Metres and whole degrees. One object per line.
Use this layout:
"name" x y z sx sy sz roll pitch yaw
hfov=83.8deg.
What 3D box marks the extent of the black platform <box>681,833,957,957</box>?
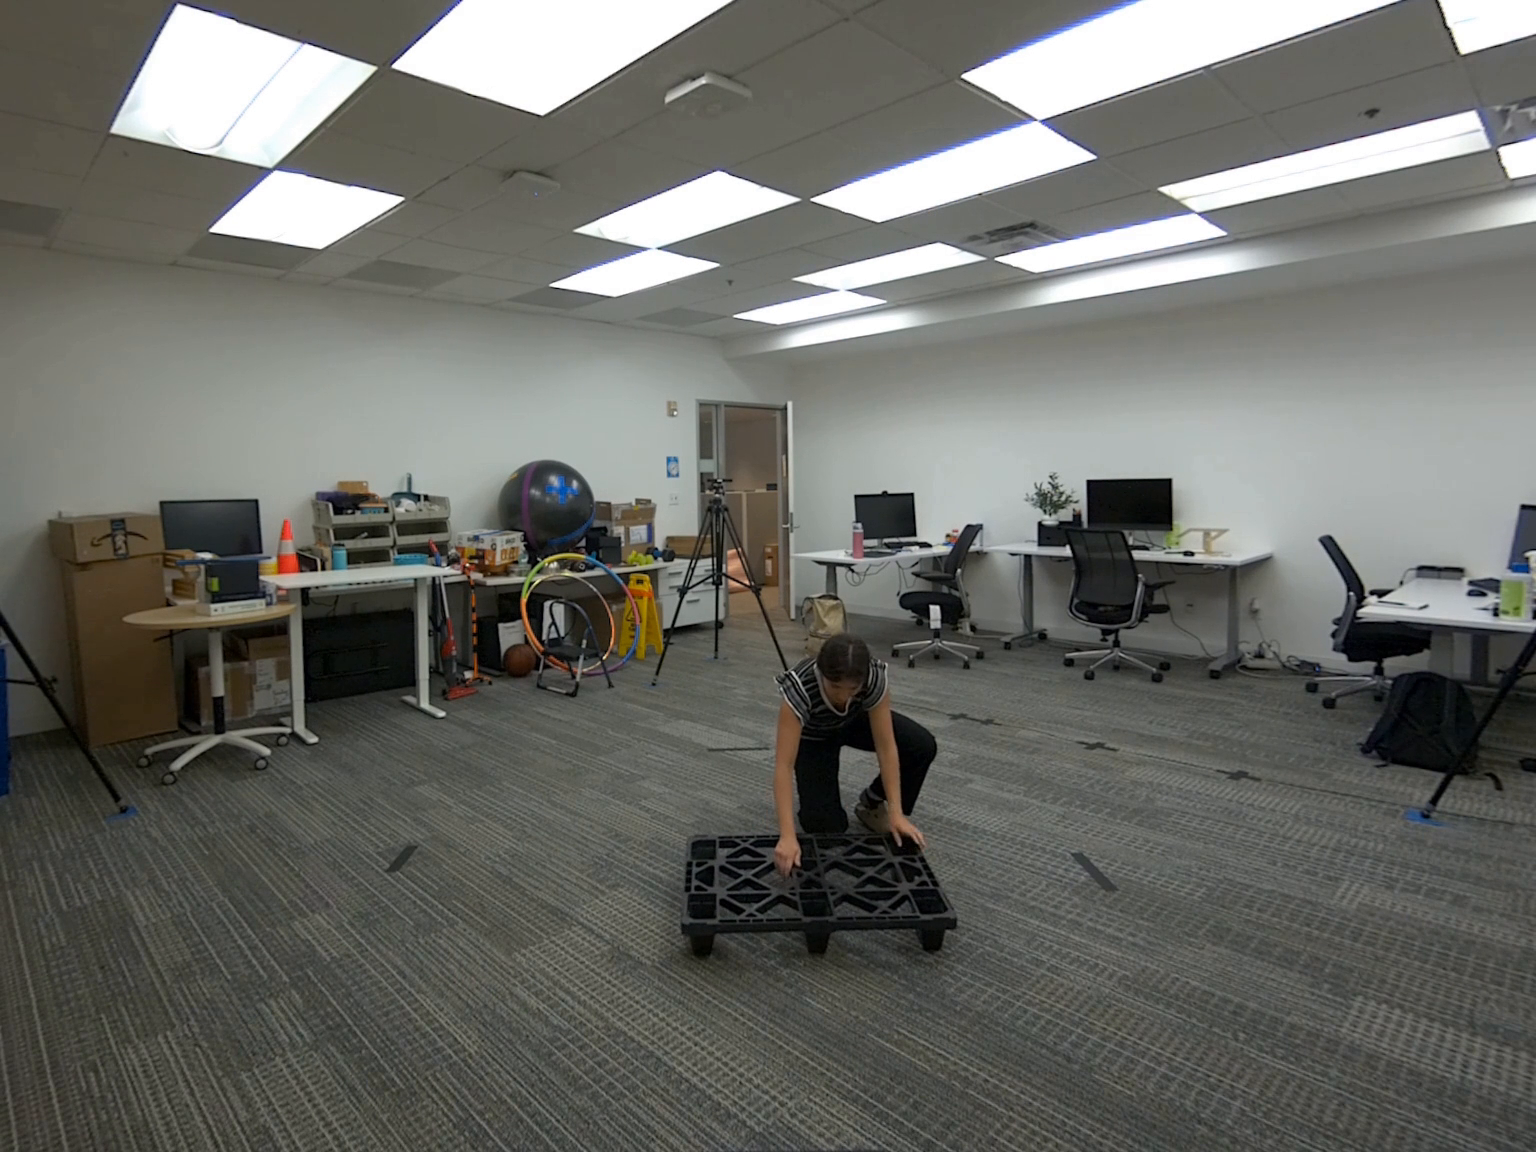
"black platform" 0.130 1.019 2.742 0.805 0.143 0.608 -1 6 -1
